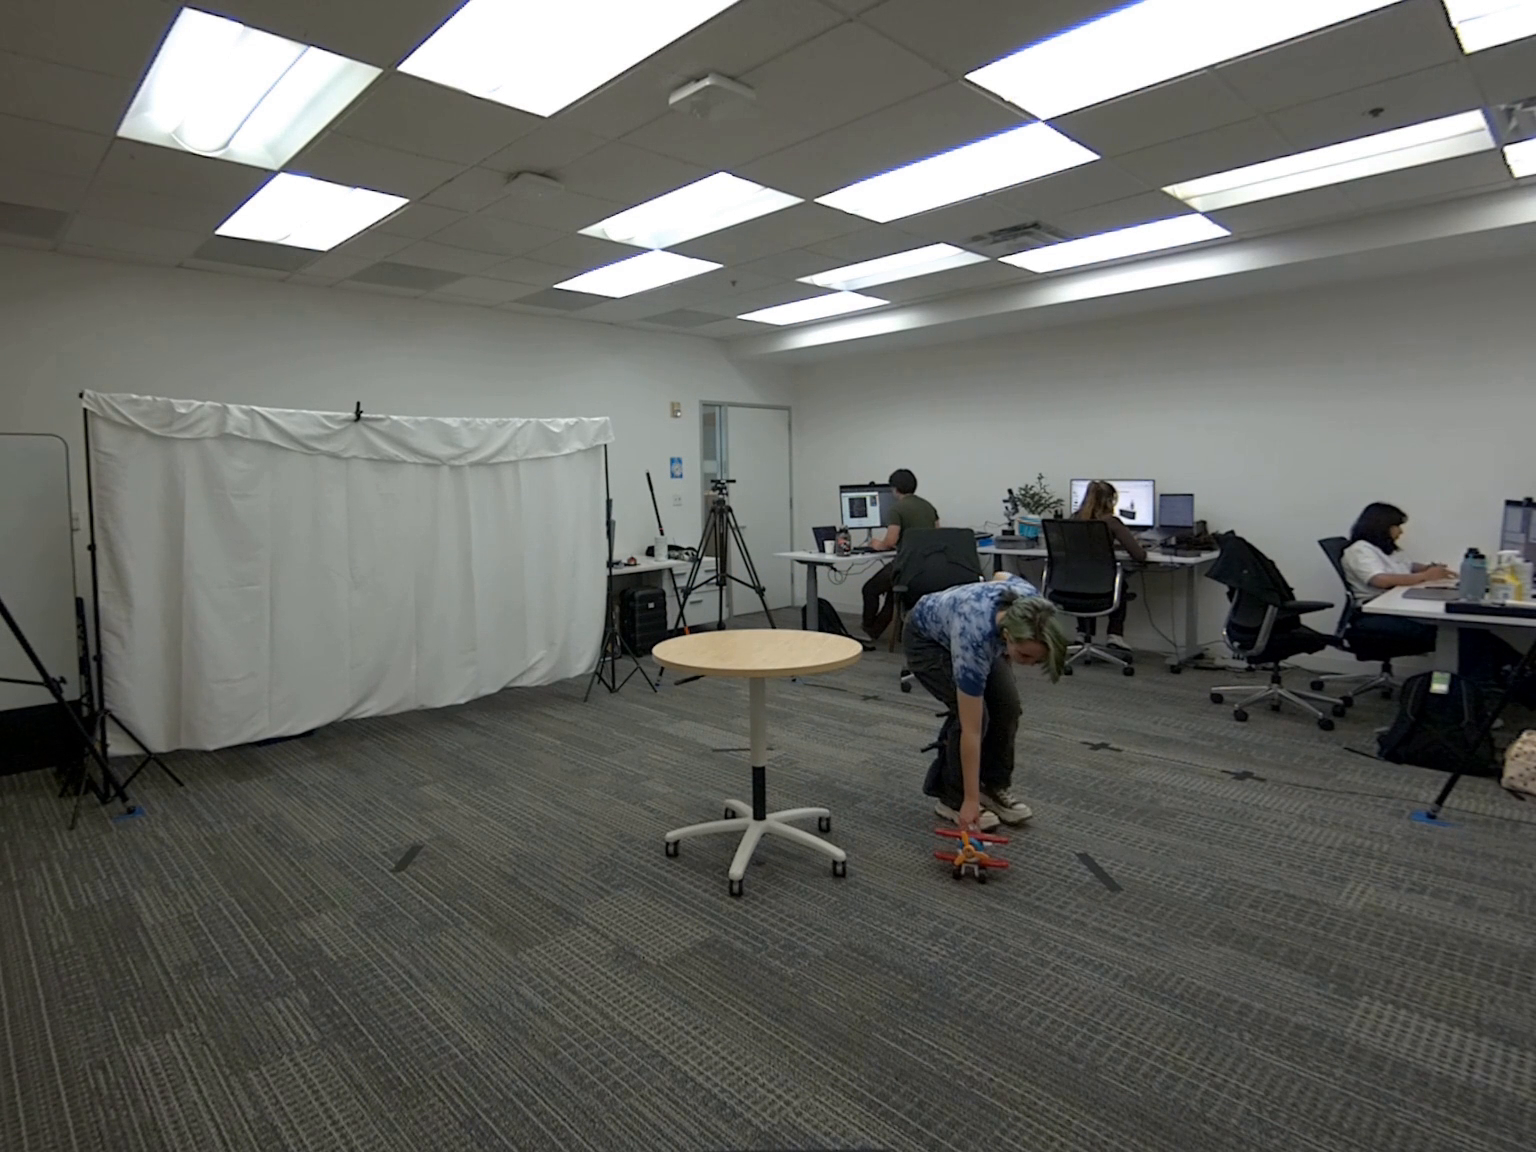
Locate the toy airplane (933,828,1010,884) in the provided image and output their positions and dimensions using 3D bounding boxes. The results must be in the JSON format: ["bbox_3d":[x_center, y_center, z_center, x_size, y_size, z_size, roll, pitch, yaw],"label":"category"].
[{"bbox_3d":[0.710,0.973,3.030,0.249,0.156,0.262,-1,5,-10],"label":"toy airplane"}]
